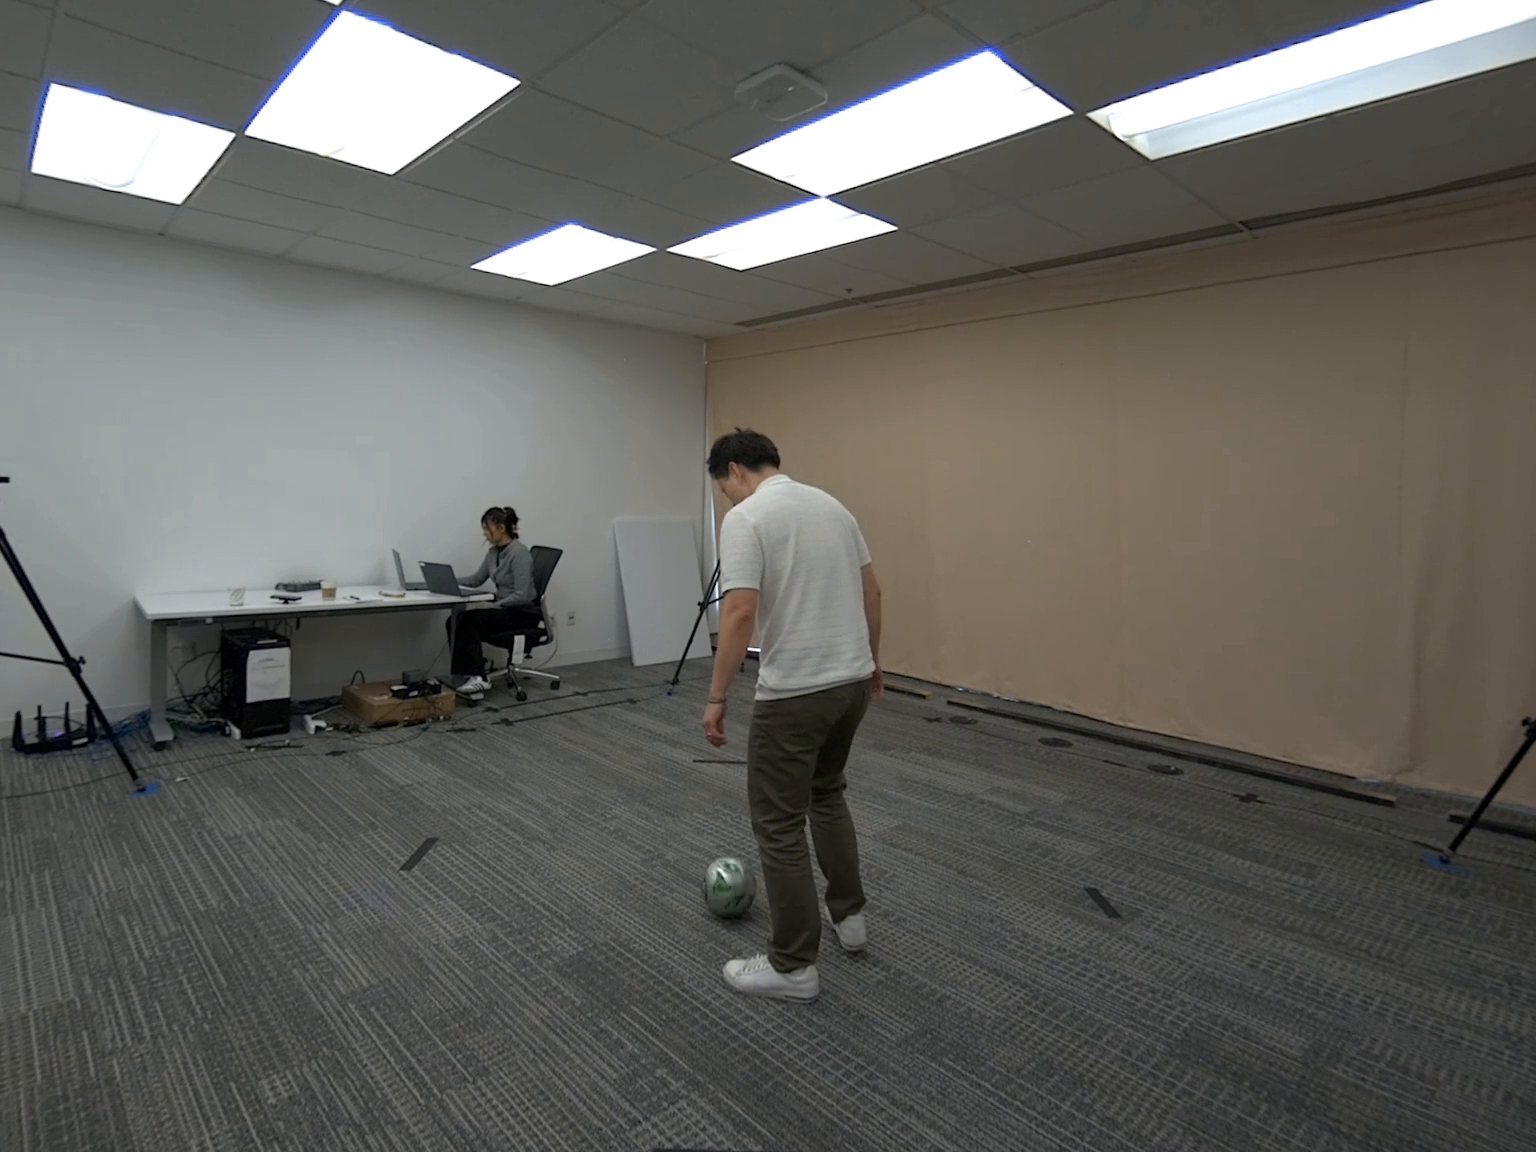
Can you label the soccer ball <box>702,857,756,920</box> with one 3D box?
[{"bbox_3d":[-0.138,1.035,2.799,0.187,0.187,0.188,1,4,-1],"label":"soccer ball"}]
